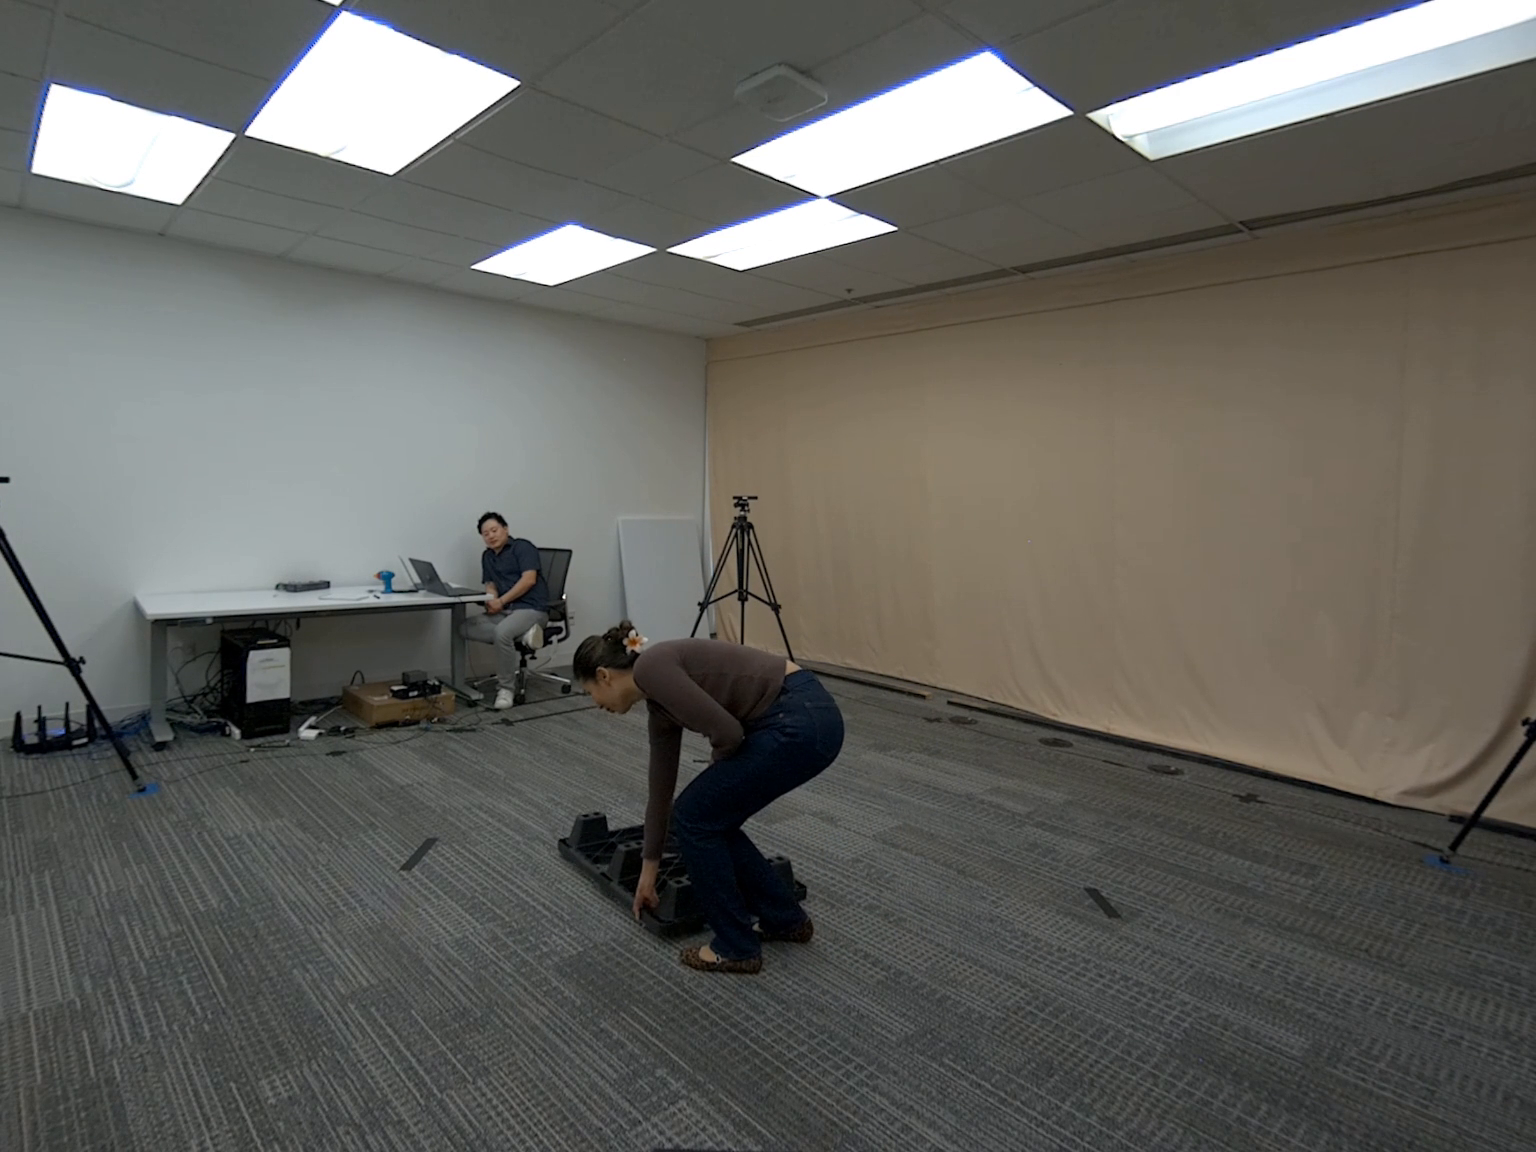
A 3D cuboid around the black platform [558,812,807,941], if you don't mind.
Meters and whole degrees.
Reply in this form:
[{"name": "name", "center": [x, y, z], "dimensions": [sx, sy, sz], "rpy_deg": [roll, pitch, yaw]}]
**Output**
[{"name": "black platform", "center": [-0.333, 1.020, 3.083], "dimensions": [0.591, 0.143, 0.826], "rpy_deg": [0, 5, -37]}]
